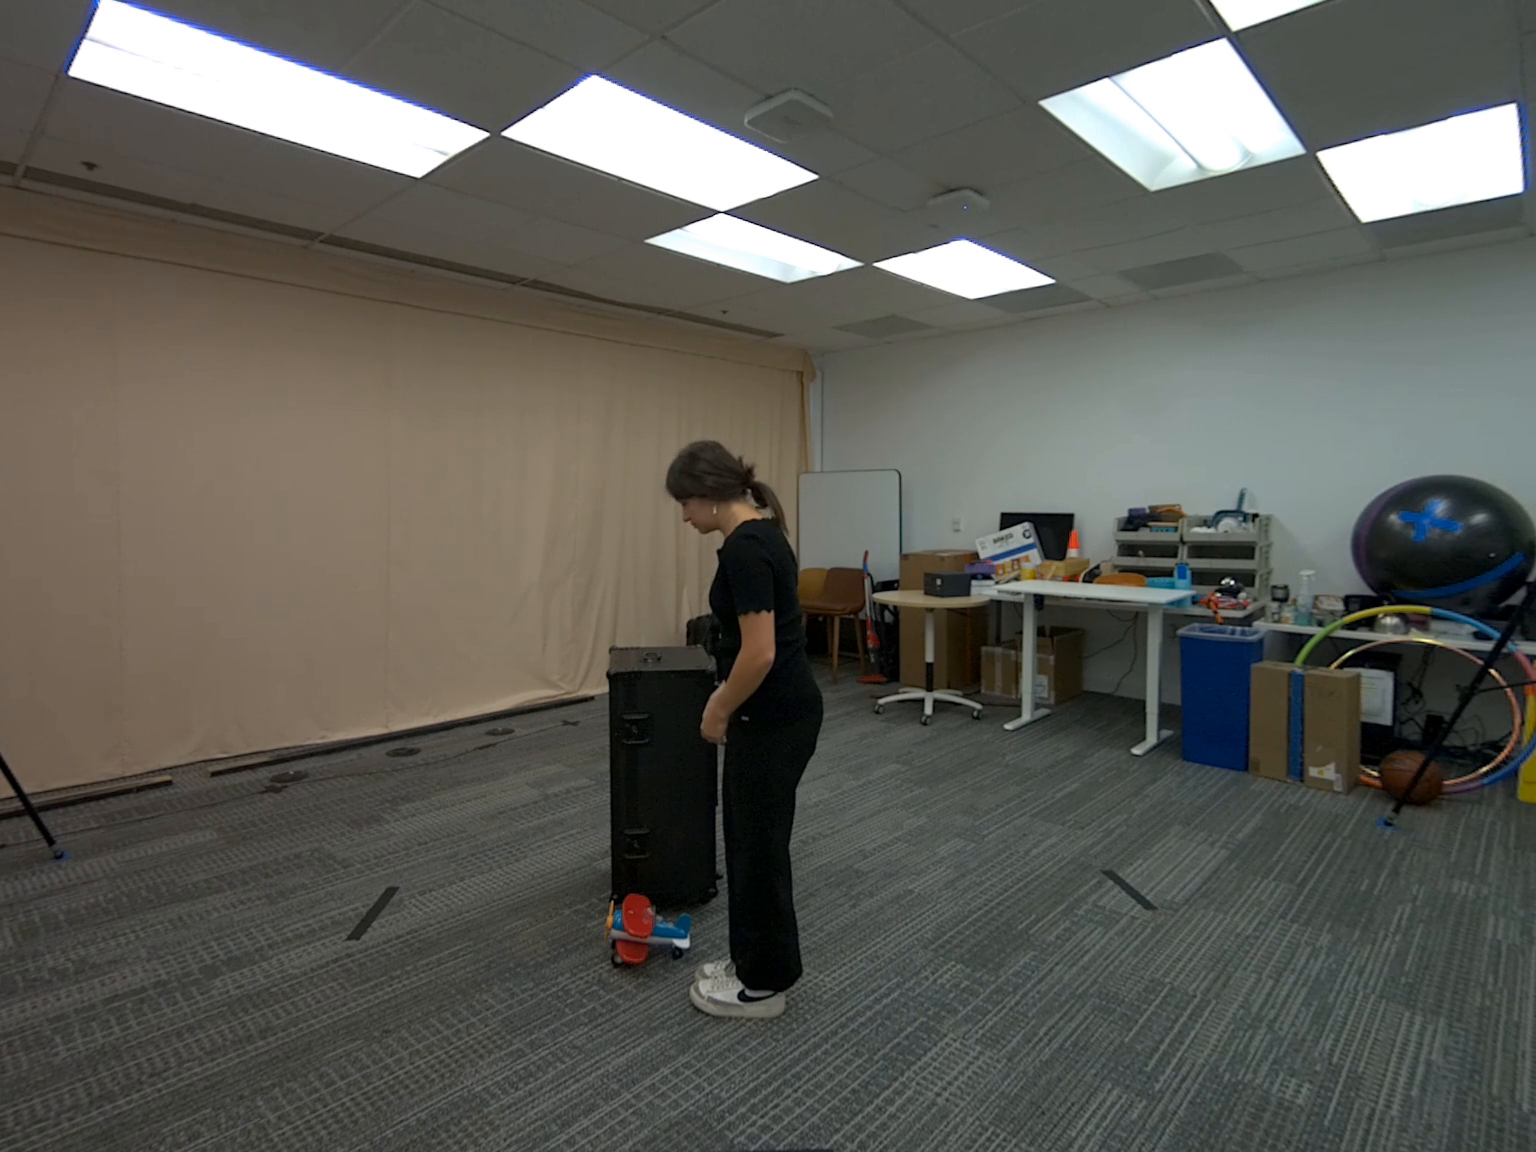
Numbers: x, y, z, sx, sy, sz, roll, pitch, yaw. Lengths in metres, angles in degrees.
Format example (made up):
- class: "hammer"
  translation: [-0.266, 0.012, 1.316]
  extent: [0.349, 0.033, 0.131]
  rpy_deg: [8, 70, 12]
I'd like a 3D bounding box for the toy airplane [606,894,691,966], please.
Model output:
- class: "toy airplane"
  translation: [-0.379, 1.098, 2.616]
  extent: [0.252, 0.156, 0.259]
  rpy_deg: [-4, 6, -35]
